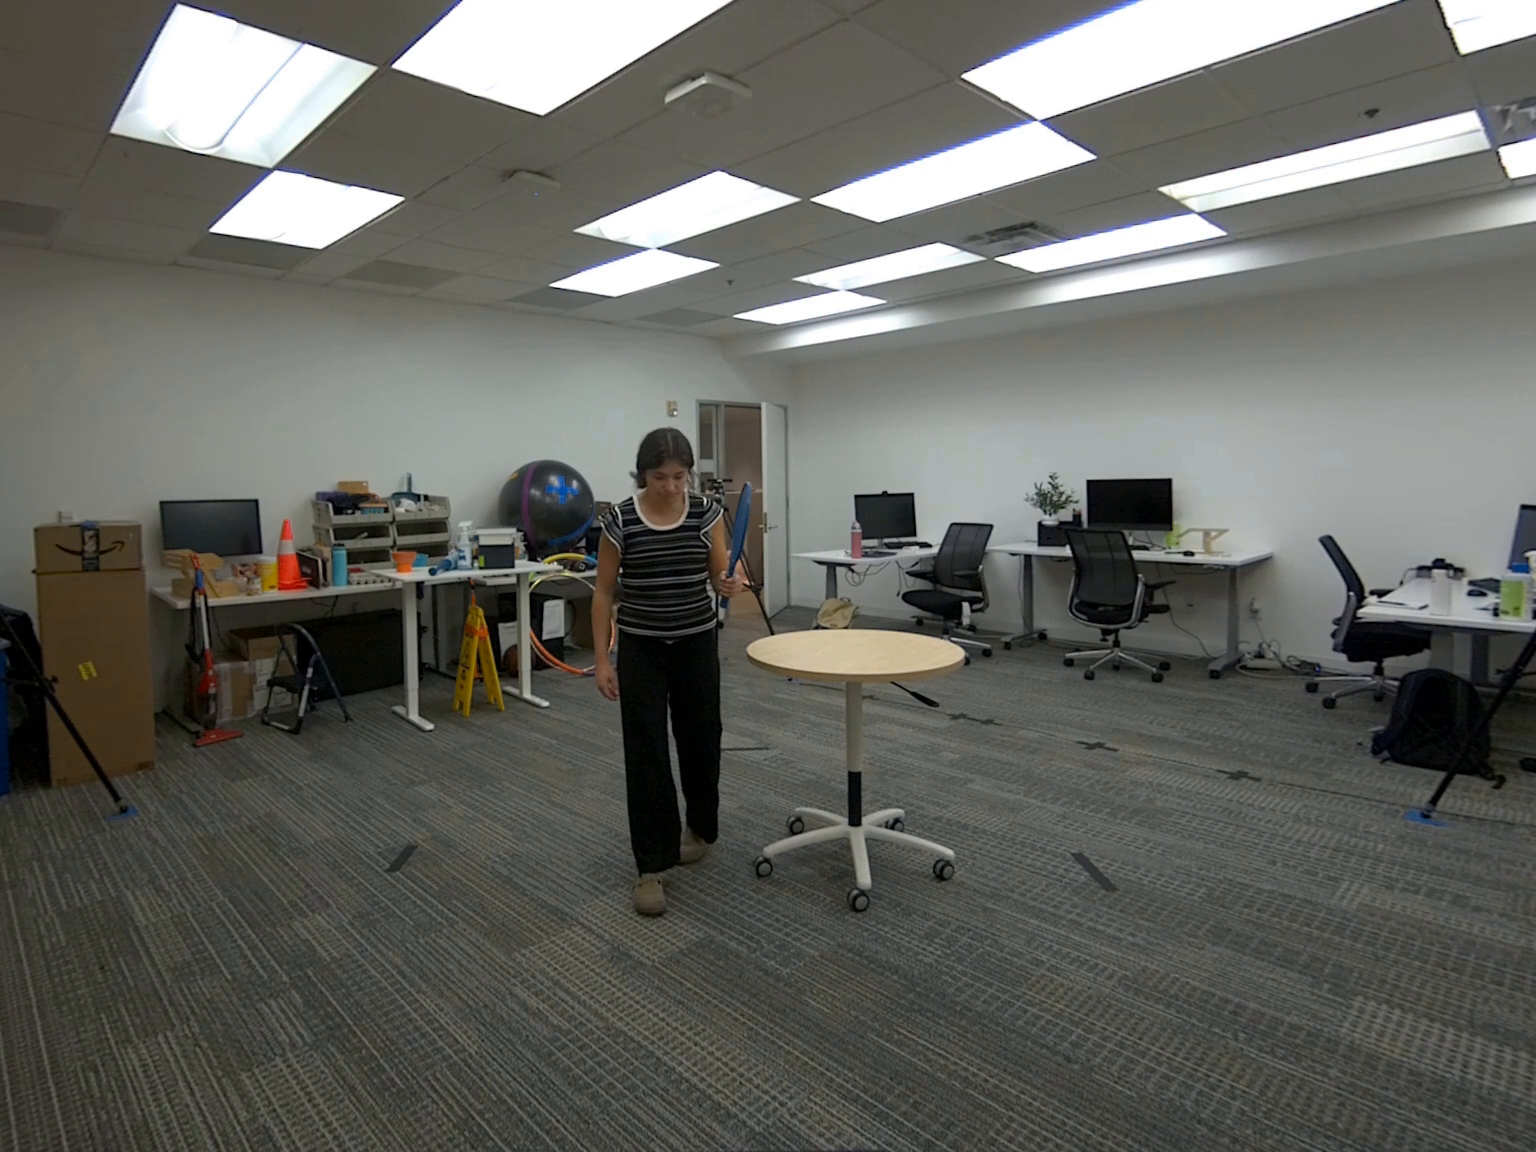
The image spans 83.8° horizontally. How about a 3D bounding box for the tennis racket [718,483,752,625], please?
[{"bbox_3d":[-0.100,-0.097,2.737,0.031,0.427,0.219,5,20,-10],"label":"tennis racket"}]
